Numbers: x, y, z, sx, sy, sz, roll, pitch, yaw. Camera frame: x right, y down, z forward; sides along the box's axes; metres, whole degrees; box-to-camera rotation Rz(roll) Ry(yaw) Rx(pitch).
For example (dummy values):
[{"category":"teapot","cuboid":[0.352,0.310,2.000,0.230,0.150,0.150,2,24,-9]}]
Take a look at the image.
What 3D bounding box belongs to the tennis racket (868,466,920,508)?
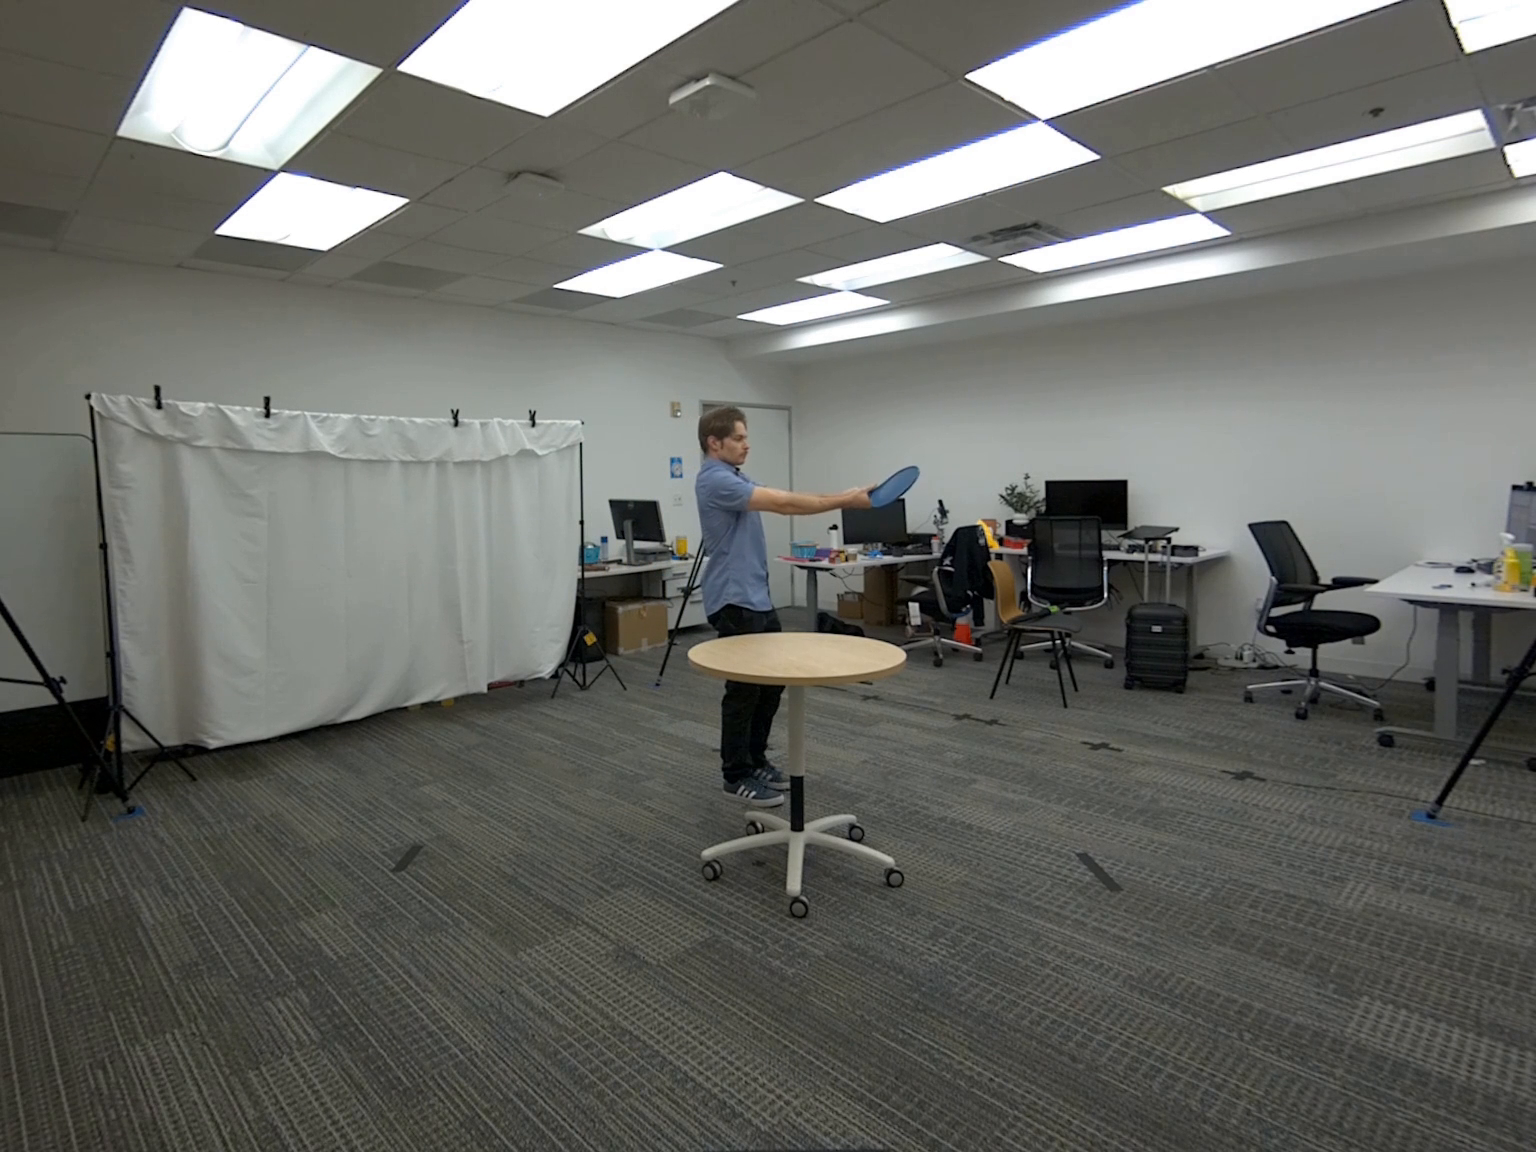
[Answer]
[{"category":"tennis racket","cuboid":[0.470,-0.335,3.393,0.031,0.214,0.439,39,-17,-15]}]
